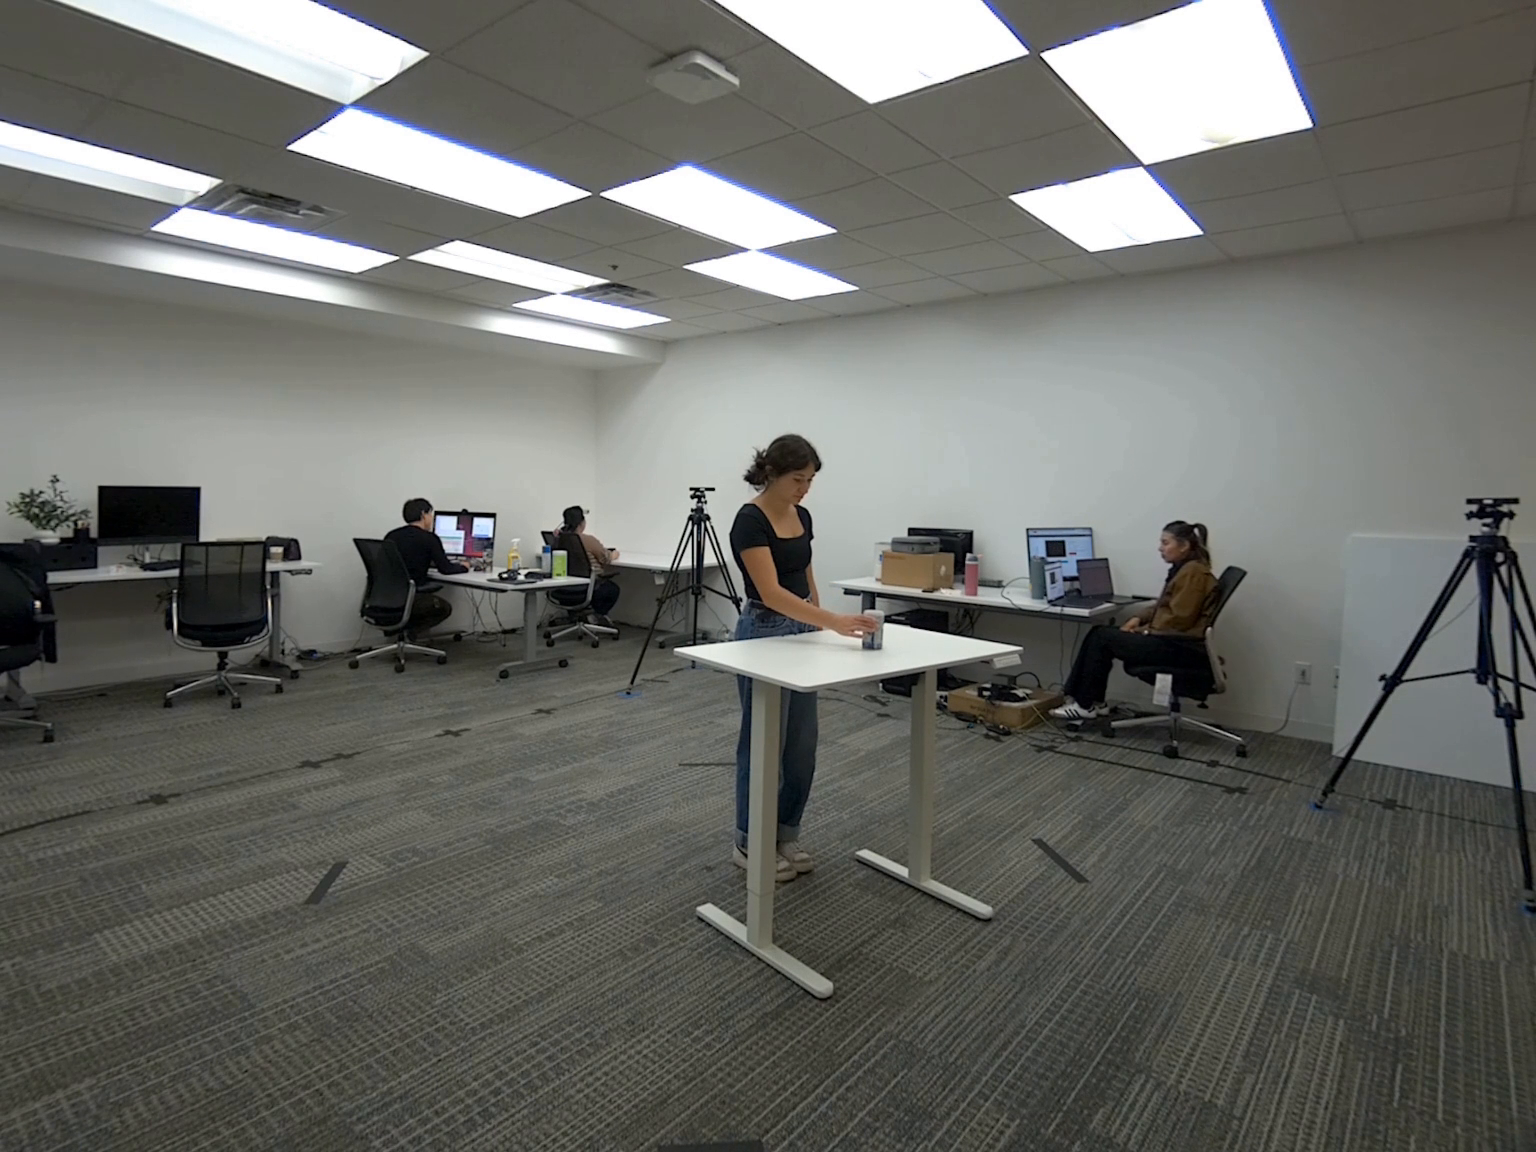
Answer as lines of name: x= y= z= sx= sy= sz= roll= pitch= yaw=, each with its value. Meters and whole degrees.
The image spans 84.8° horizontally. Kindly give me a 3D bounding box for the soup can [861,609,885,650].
soup can: x=0.335 y=0.174 z=2.746 sx=0.067 sy=0.121 sz=0.068 roll=1 pitch=7 yaw=-2
